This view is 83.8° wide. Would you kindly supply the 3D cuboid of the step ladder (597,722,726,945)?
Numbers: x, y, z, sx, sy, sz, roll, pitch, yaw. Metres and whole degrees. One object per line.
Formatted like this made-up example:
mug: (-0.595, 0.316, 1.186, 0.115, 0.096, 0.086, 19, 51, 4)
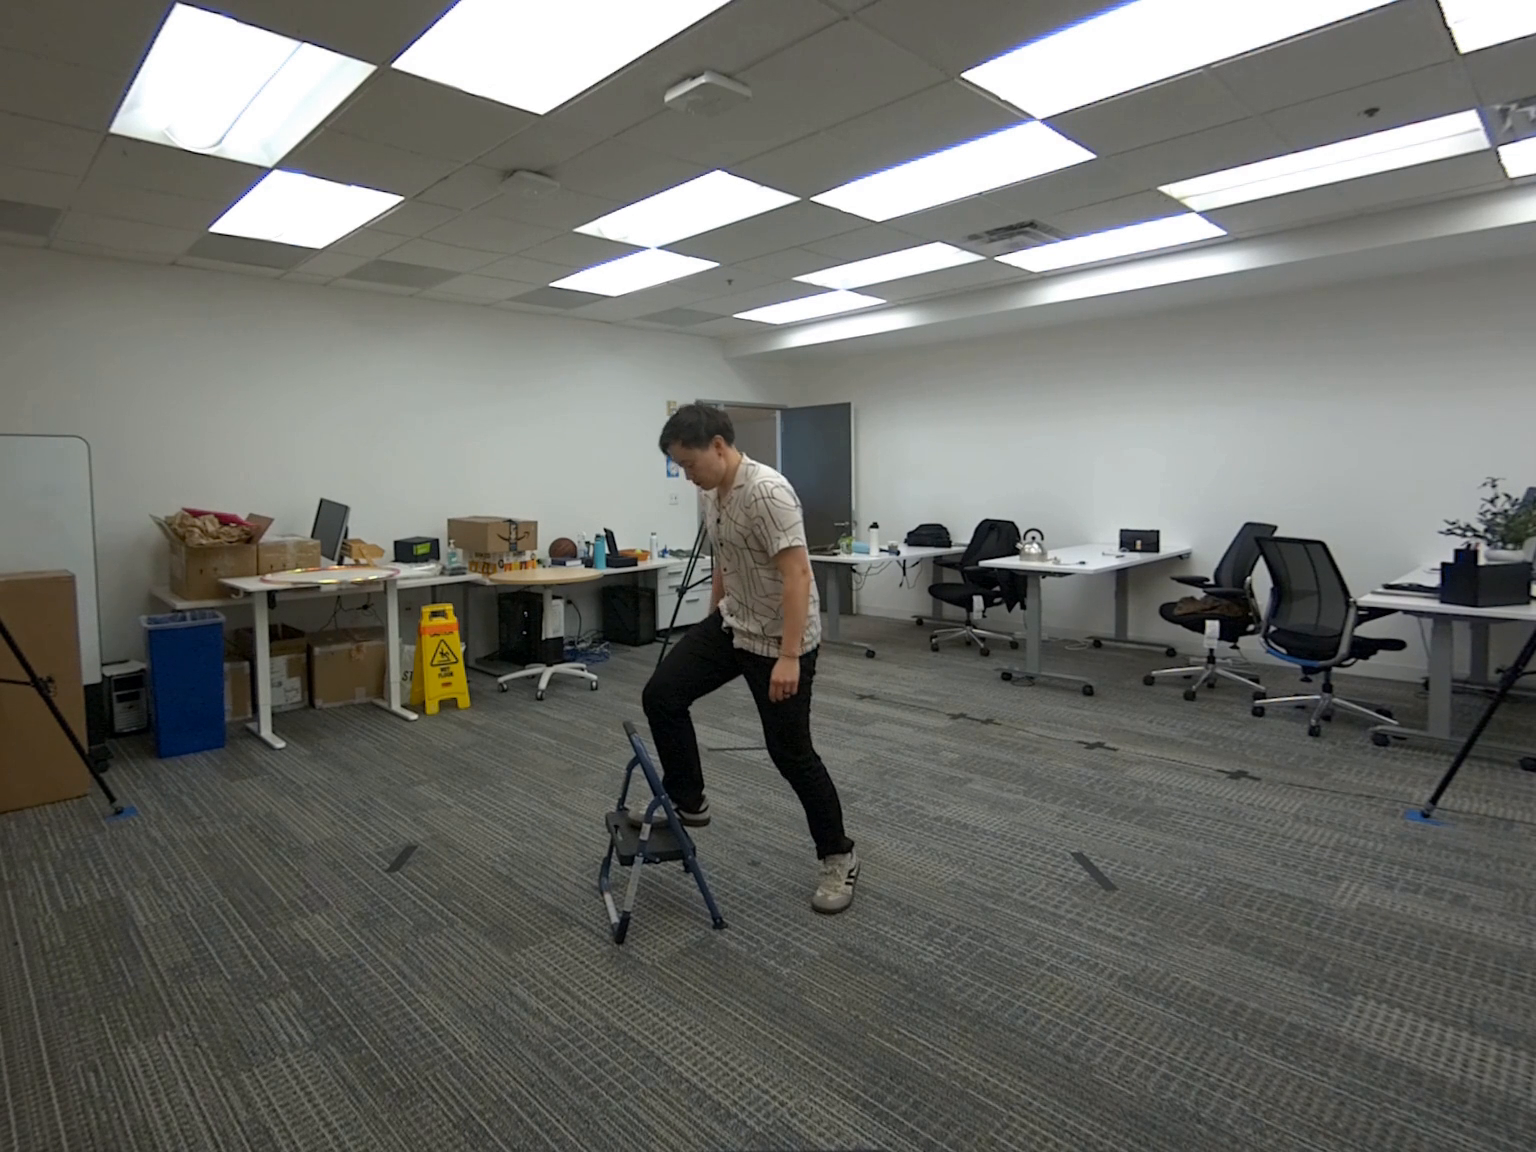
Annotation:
step ladder: (-0.365, 0.784, 2.799, 0.344, 0.604, 0.439, -3, 5, -18)
